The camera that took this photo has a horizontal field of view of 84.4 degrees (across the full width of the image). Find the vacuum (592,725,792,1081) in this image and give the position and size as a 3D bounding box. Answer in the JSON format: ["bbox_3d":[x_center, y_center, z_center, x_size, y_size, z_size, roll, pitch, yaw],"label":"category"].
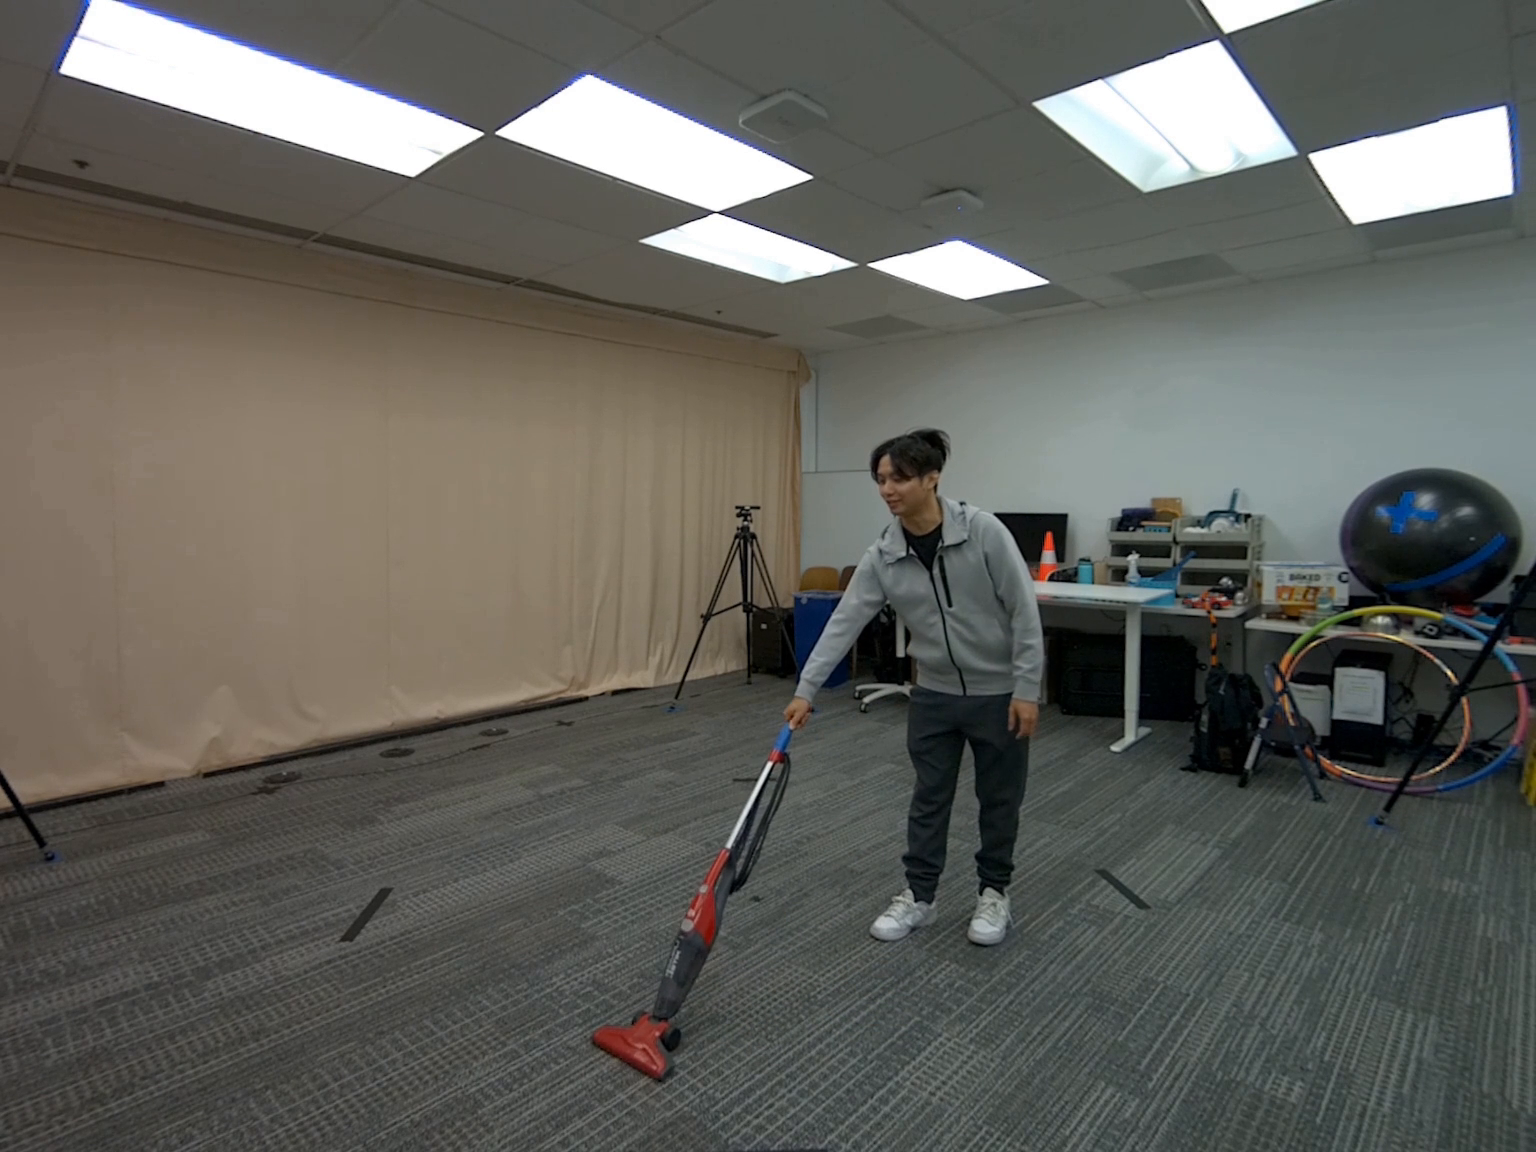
[{"bbox_3d":[-0.089,0.828,2.437,0.261,1.048,0.139,6,-39,34],"label":"vacuum"}]
